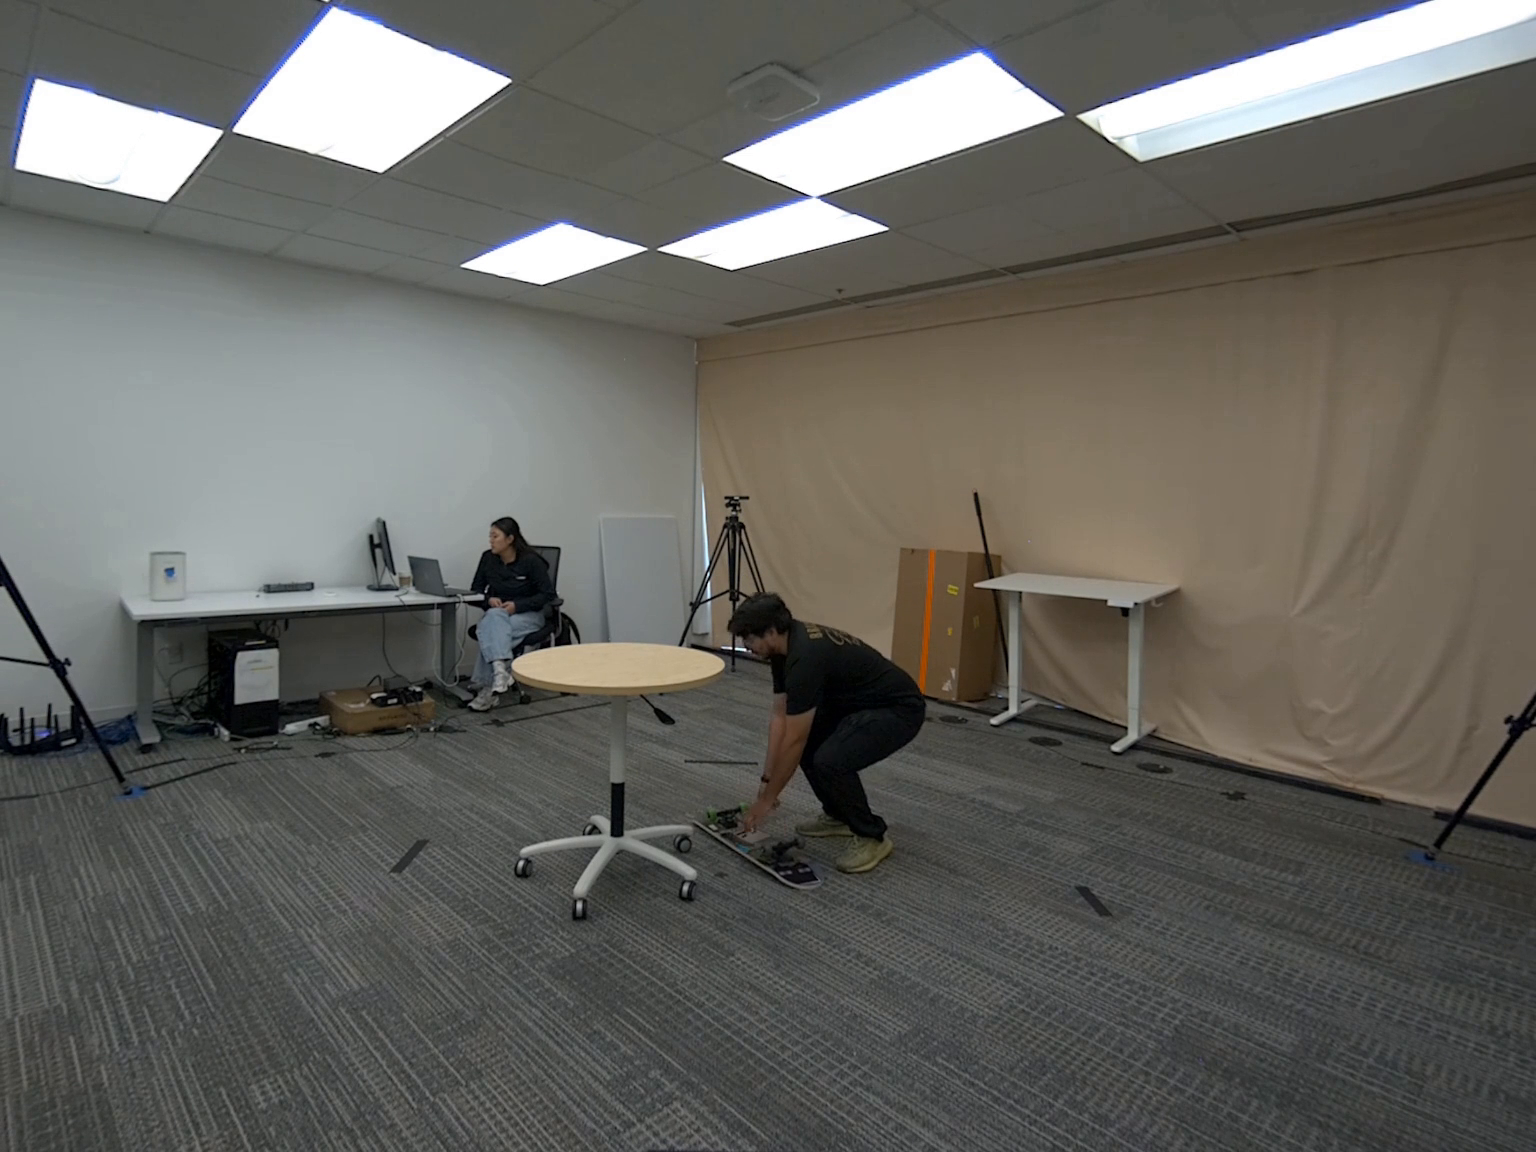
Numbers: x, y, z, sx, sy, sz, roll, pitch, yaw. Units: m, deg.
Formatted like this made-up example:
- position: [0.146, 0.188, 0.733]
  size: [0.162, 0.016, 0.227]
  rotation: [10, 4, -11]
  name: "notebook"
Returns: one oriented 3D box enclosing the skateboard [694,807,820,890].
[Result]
- position: [-0.066, 1.033, 3.344]
  size: [0.189, 0.110, 0.804]
  rotation: [-1, 5, -34]
  name: "skateboard"
